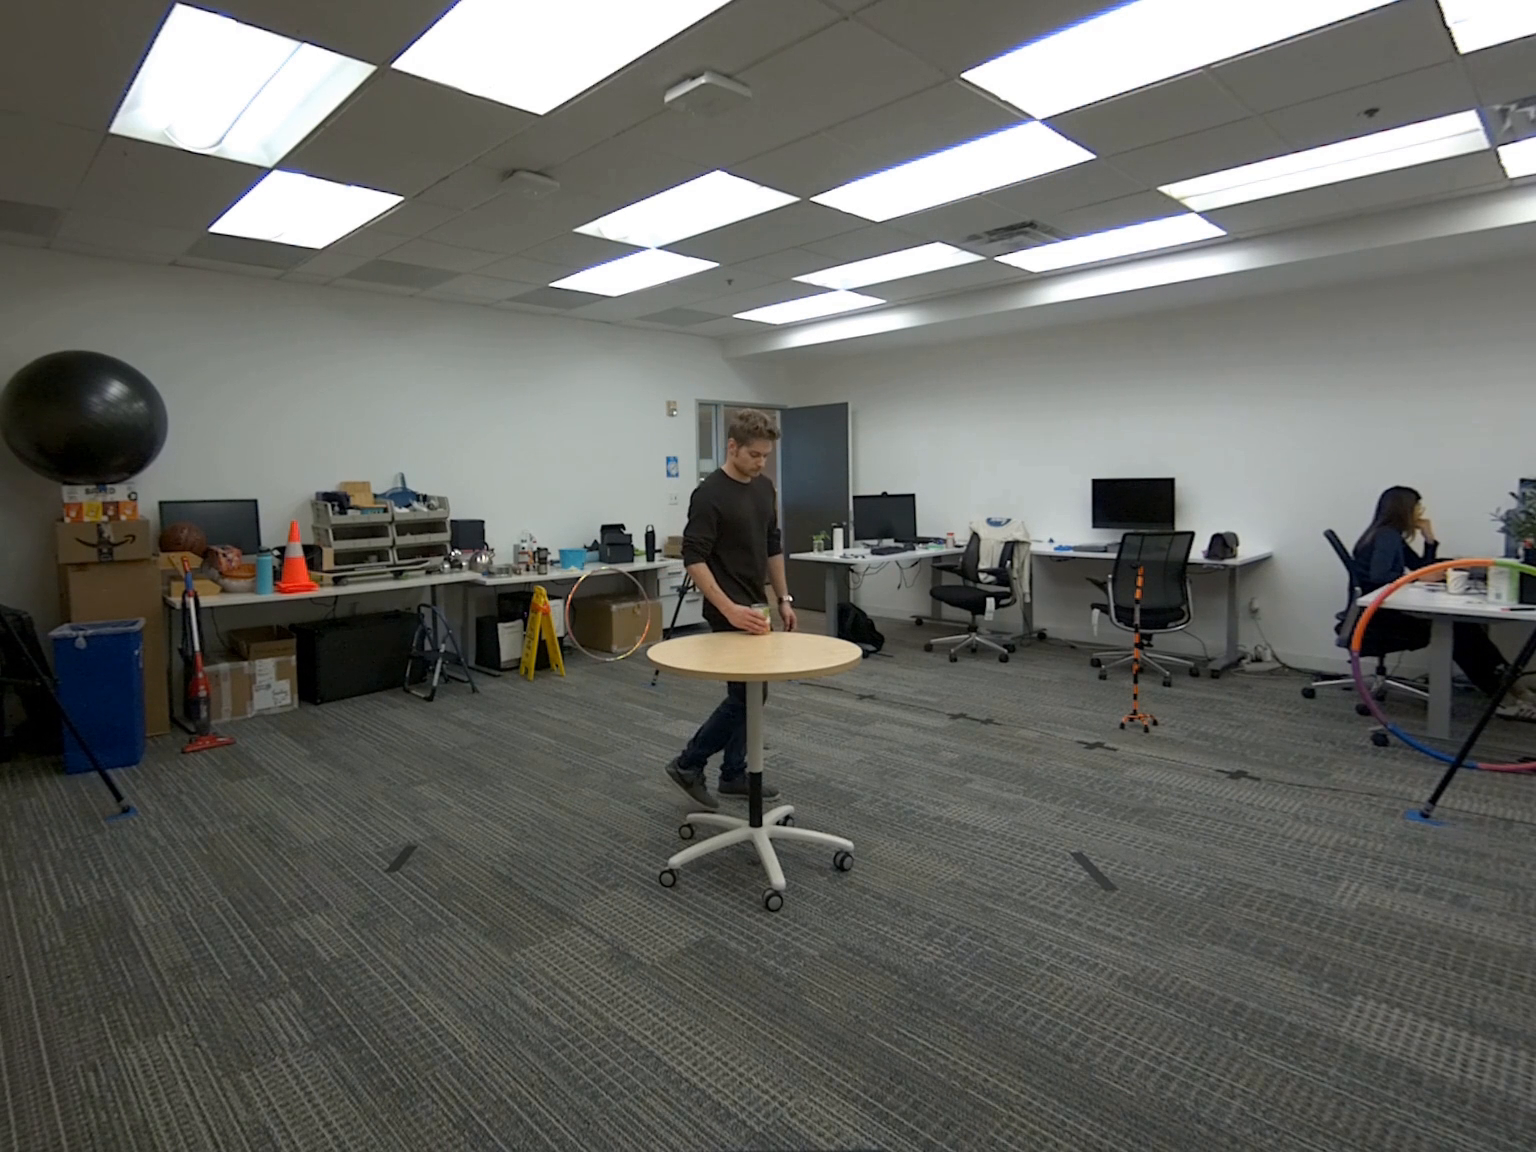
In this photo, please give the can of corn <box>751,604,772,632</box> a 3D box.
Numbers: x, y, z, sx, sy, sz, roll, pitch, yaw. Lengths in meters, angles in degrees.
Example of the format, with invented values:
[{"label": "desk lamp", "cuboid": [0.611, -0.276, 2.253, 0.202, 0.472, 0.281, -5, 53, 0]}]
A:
[{"label": "can of corn", "cuboid": [-0.044, 0.177, 3.382, 0.074, 0.110, 0.074, -5, 5, -1]}]
